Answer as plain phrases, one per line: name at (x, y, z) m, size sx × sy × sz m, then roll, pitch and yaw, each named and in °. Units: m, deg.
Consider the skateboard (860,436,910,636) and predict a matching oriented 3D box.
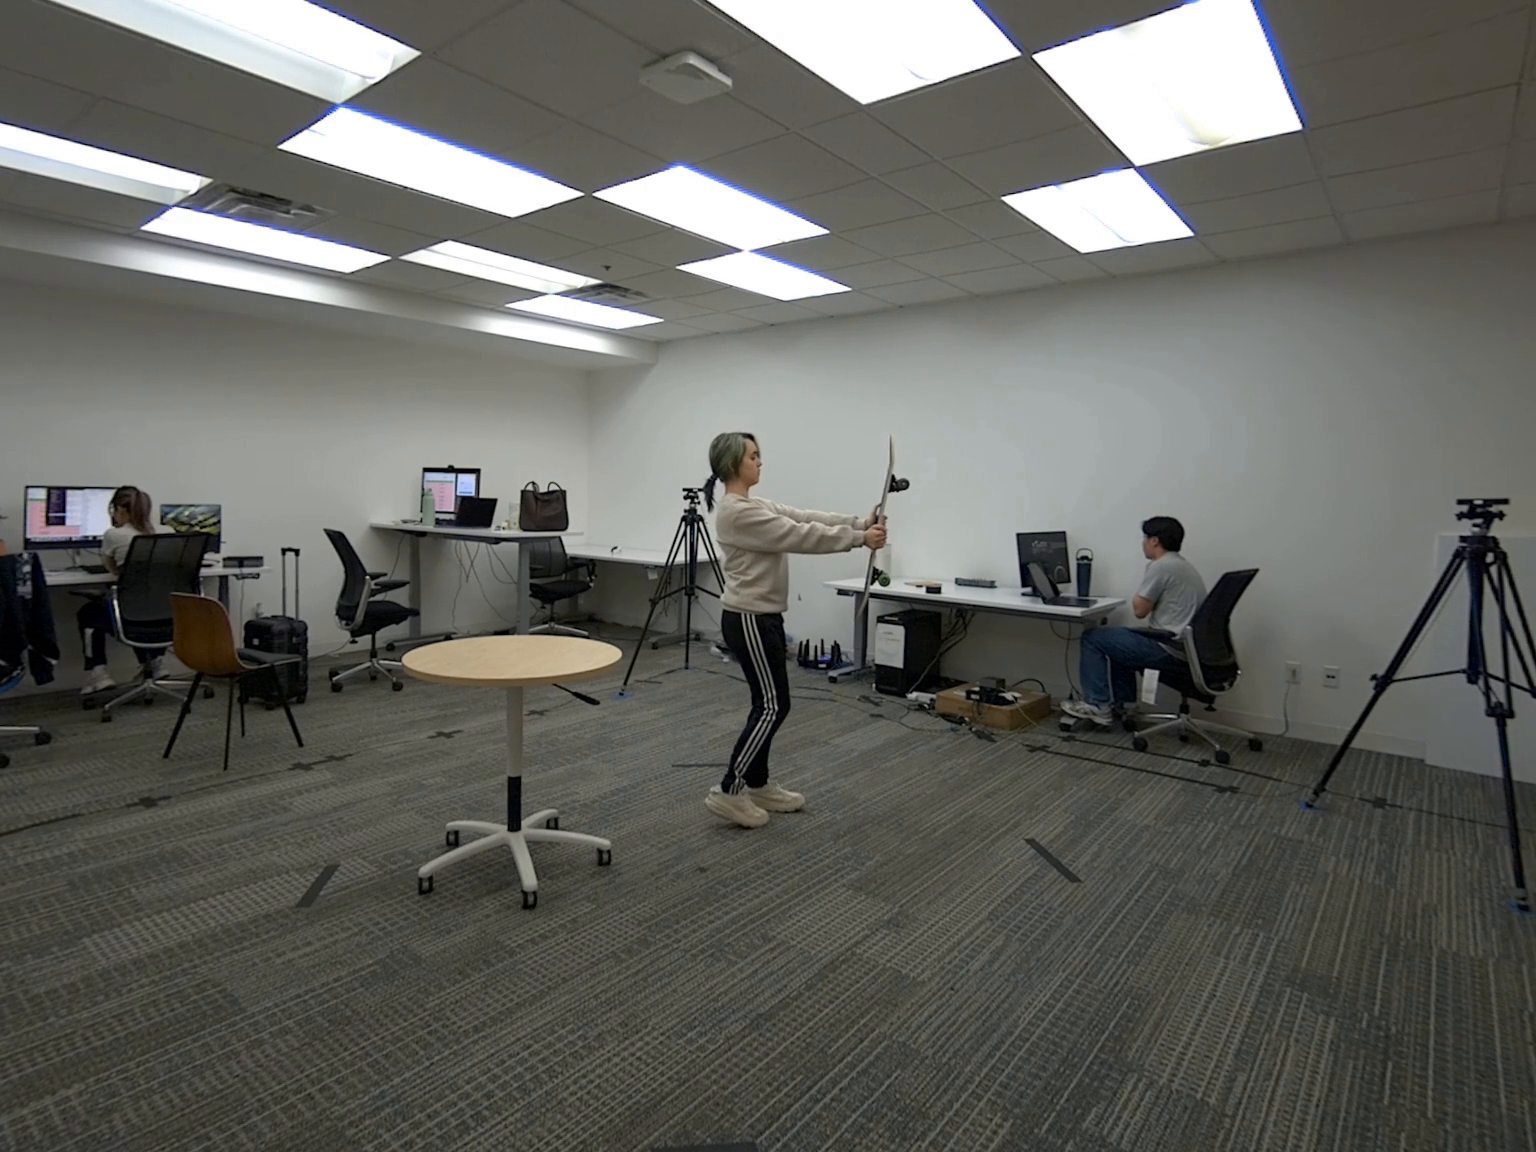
skateboard at (0.476, -0.192, 3.526) m, size 0.111 × 0.782 × 0.193 m, roll 12°, pitch 5°, yaw 3°
